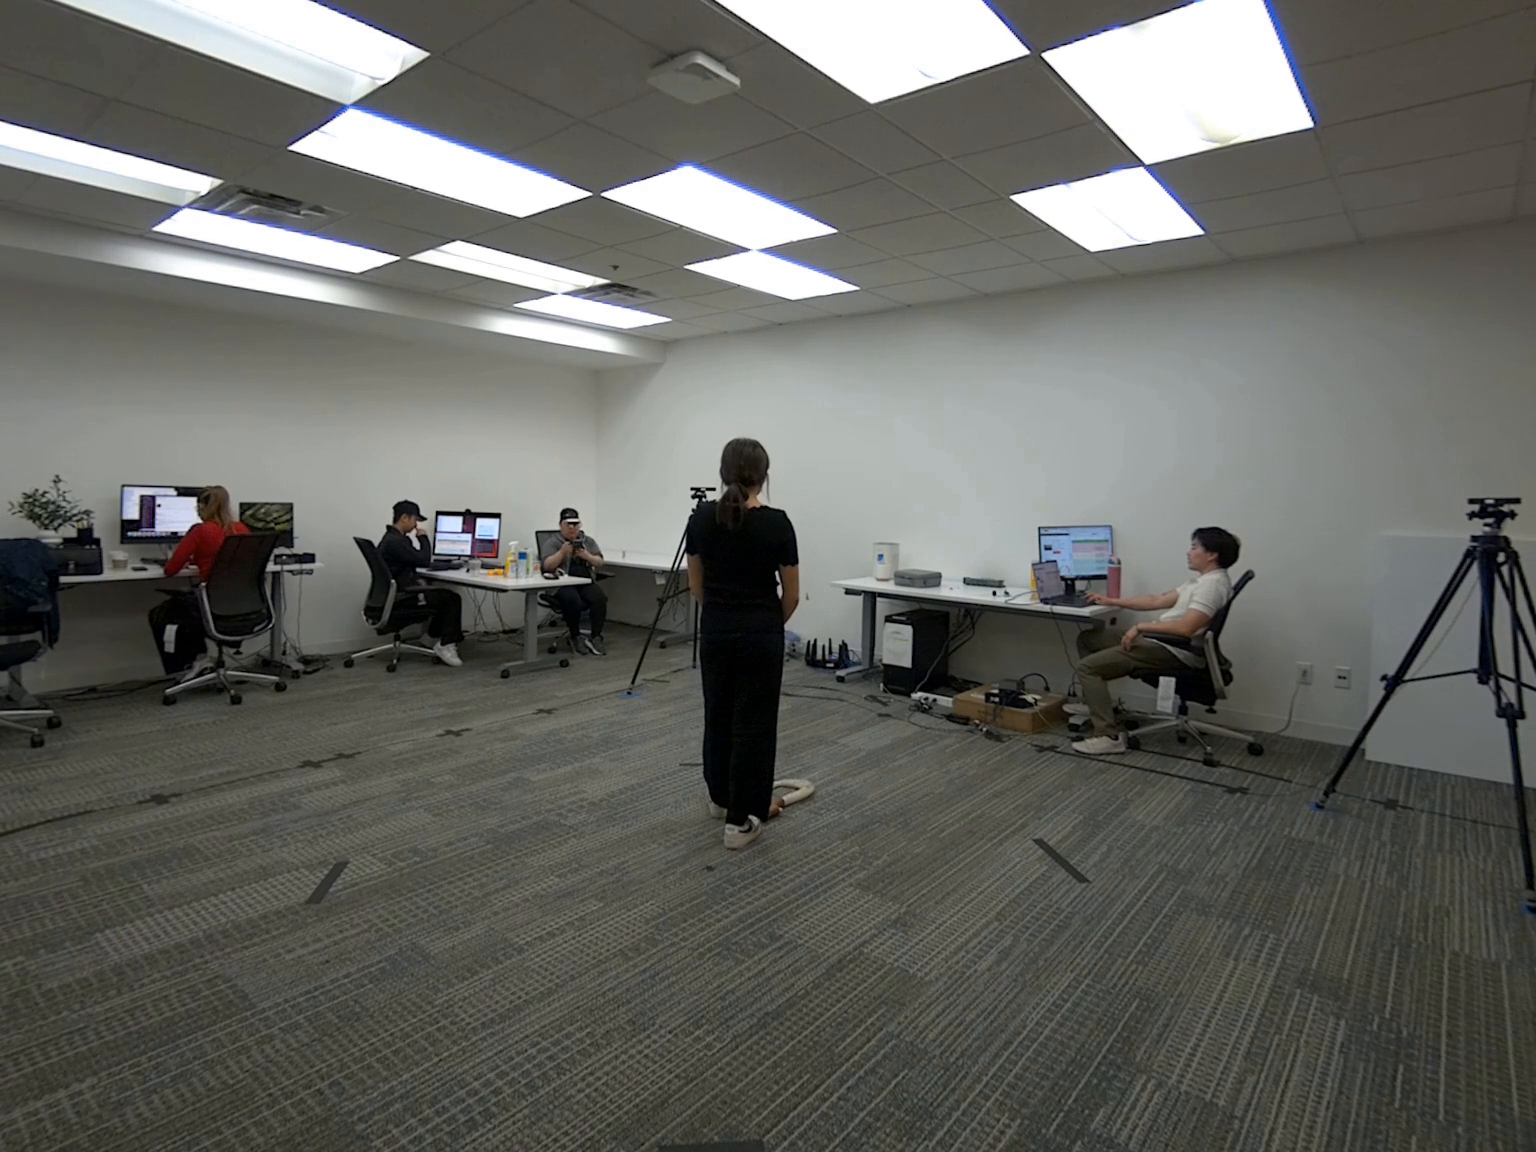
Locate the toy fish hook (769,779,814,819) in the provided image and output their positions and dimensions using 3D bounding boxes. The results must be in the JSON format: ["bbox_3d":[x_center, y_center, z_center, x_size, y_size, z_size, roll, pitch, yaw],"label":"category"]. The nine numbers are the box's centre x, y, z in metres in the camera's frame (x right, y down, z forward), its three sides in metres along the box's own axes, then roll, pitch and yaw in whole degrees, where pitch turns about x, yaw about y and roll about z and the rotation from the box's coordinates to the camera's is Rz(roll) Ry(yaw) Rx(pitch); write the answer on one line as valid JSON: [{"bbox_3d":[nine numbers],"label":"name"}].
[{"bbox_3d":[0.024,0.988,3.791,0.230,0.048,0.495,-4,2,26],"label":"toy fish hook"}]
